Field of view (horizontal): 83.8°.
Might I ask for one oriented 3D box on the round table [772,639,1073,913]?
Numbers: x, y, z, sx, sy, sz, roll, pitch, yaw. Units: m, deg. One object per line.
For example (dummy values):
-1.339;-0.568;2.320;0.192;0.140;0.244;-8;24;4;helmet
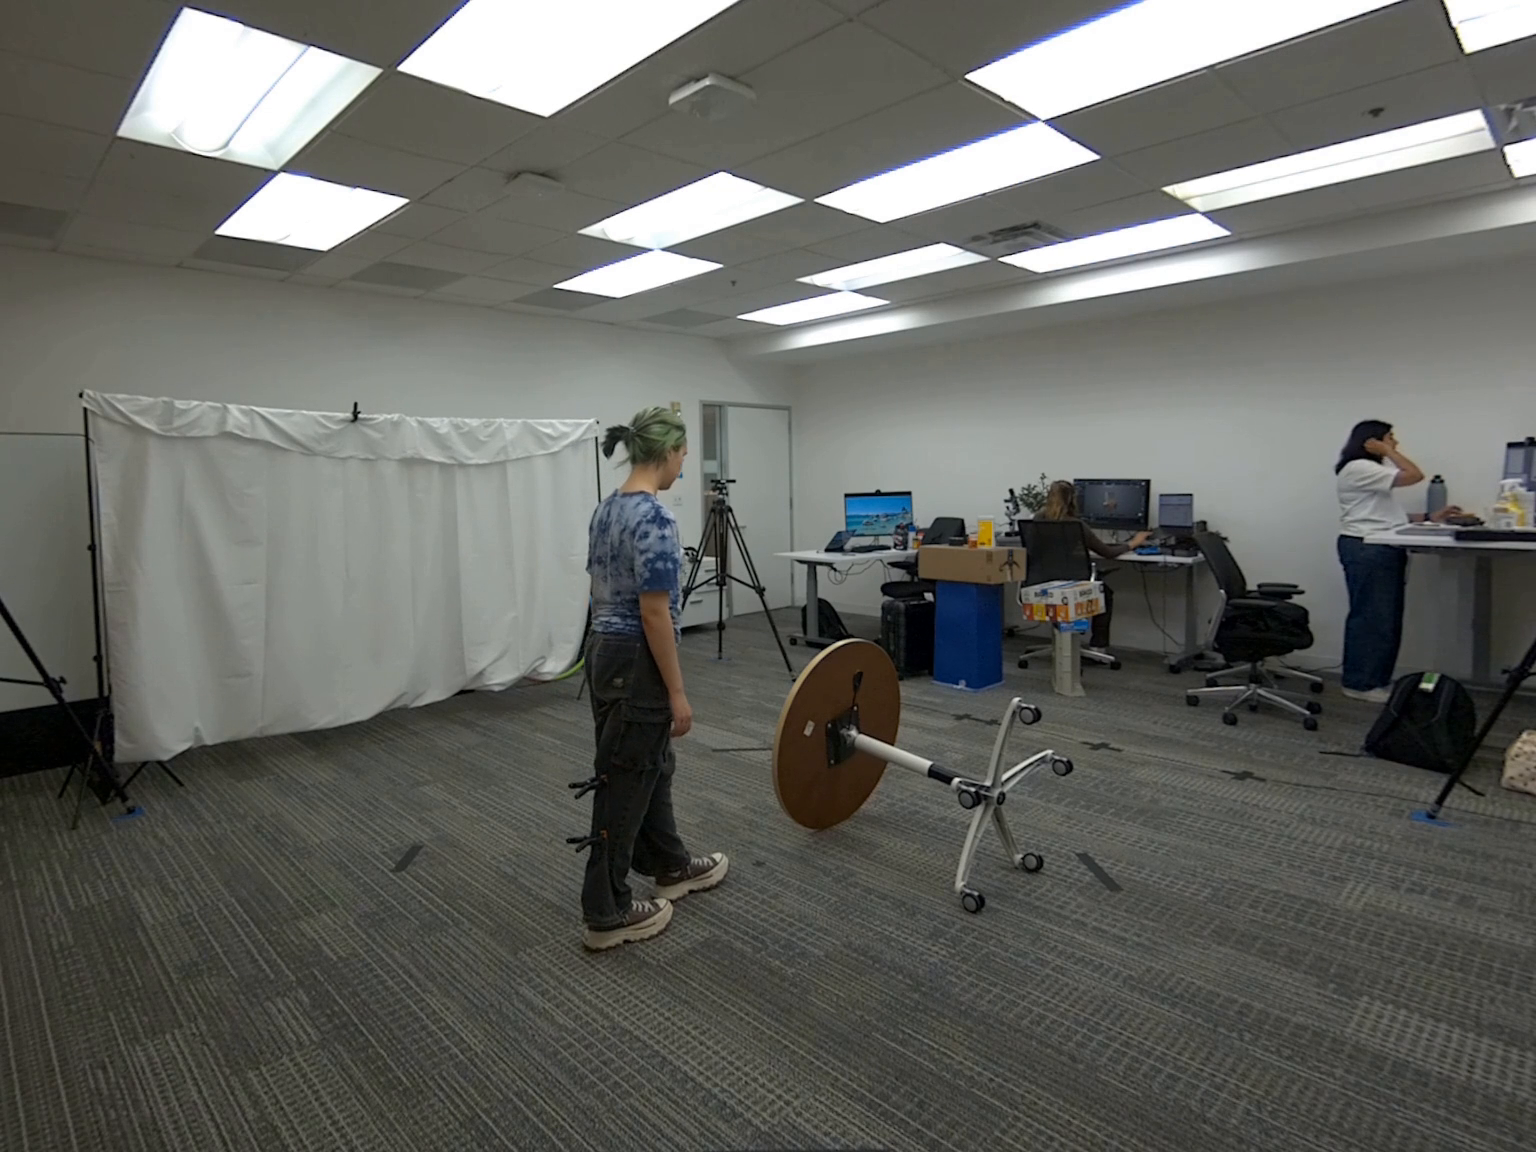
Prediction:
0.564;0.693;3.120;0.744;0.758;0.821;-5;13;-44;round table
